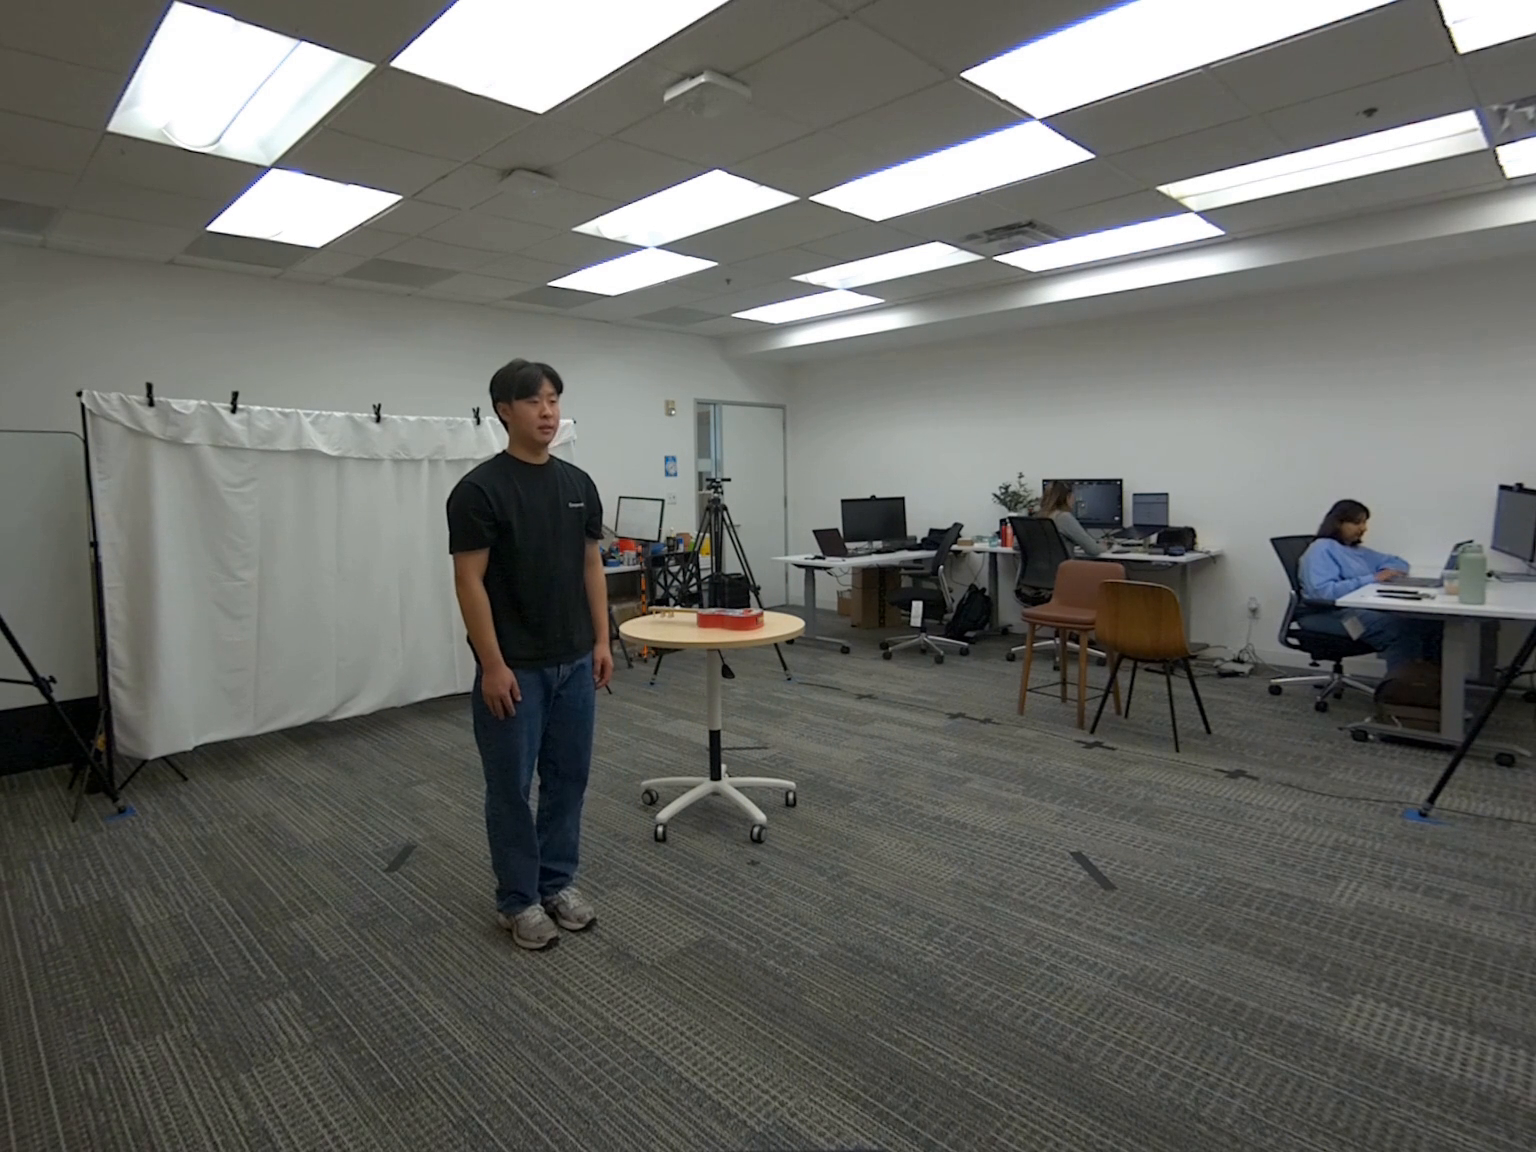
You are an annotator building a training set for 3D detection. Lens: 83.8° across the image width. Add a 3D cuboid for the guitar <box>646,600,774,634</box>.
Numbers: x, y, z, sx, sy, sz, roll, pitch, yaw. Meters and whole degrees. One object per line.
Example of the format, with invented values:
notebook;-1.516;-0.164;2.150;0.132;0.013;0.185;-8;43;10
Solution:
guitar;-0.245;0.165;3.556;0.511;0.070;0.189;3;8;30
